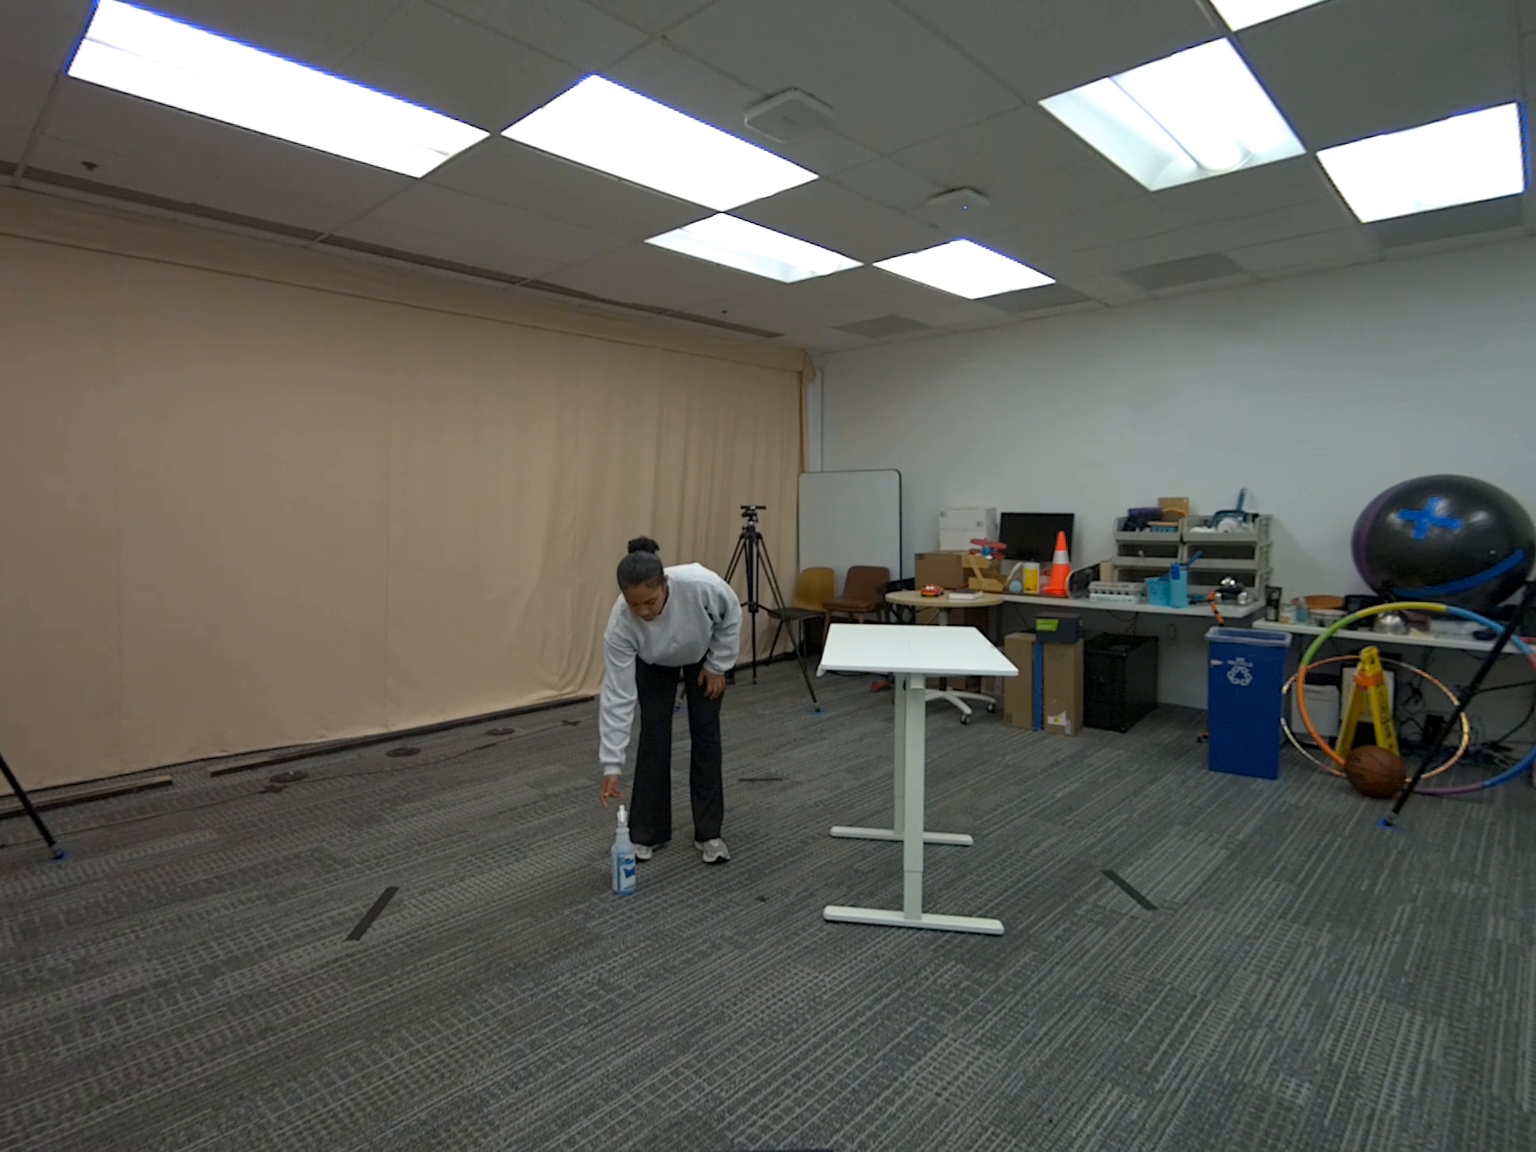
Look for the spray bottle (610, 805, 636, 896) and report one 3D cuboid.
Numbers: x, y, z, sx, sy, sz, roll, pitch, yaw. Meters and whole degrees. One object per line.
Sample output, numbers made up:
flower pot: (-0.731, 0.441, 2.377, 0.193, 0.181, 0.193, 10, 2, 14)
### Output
spray bottle: (-0.523, 0.992, 3.058, 0.088, 0.297, 0.089, -1, 1, 14)
